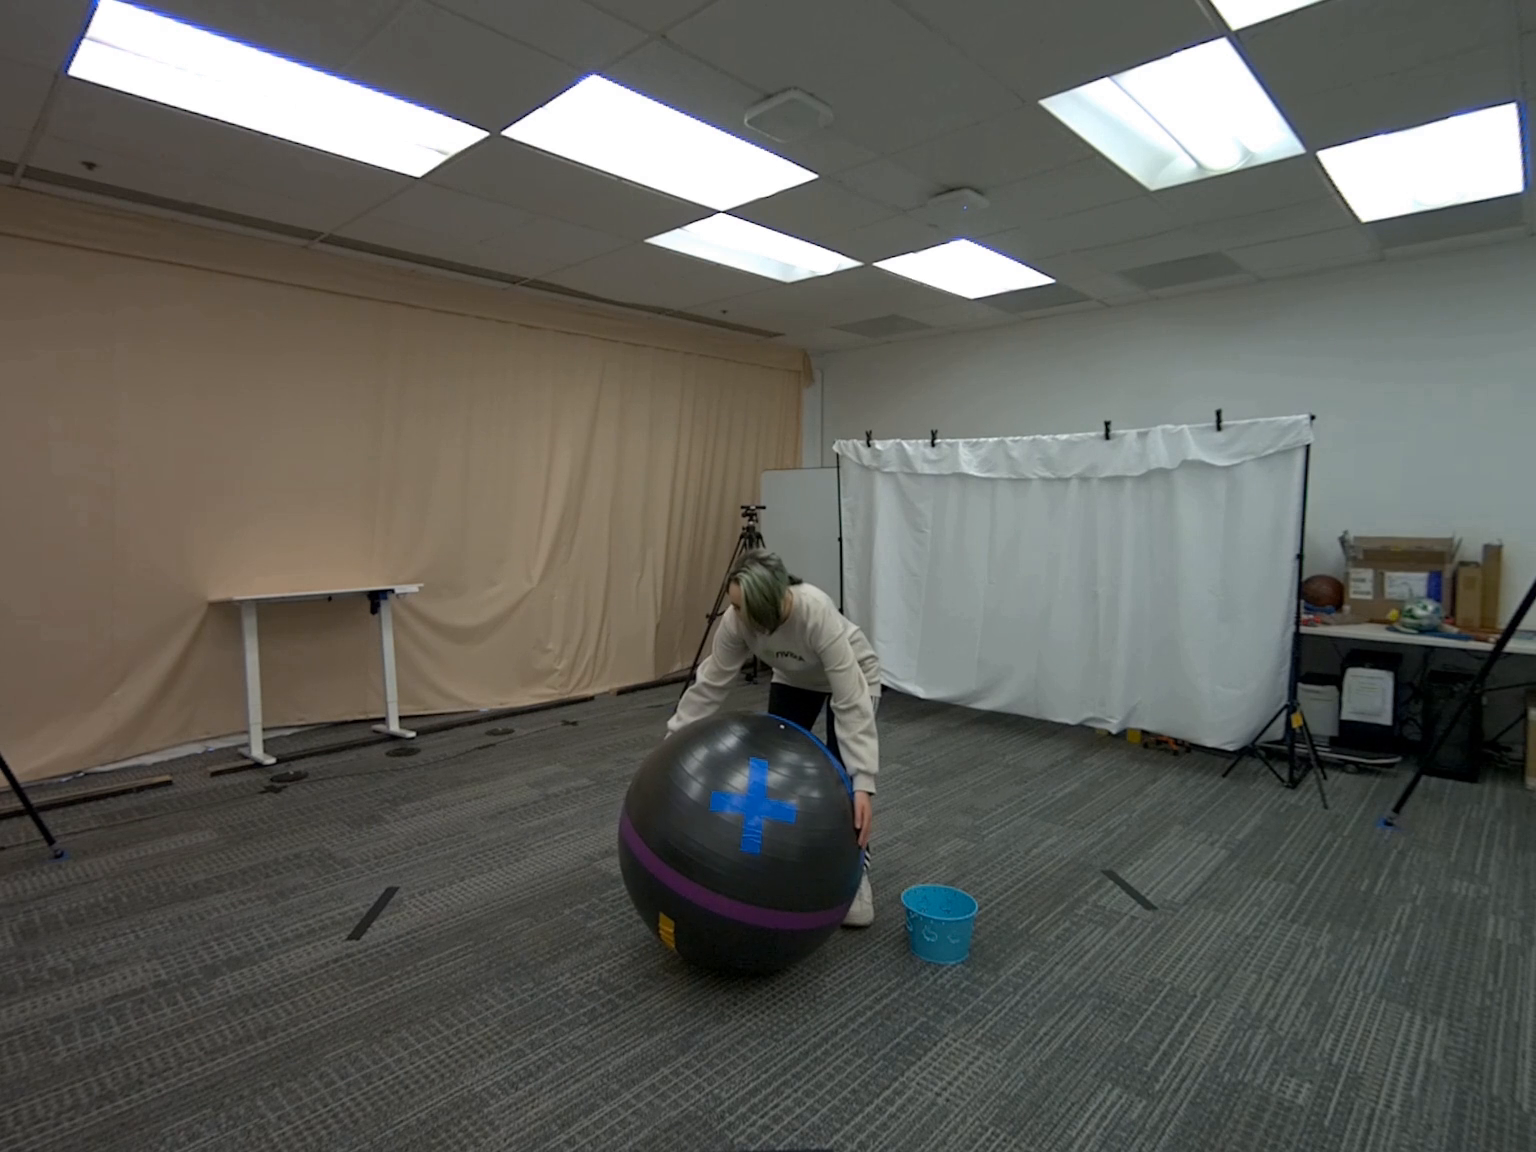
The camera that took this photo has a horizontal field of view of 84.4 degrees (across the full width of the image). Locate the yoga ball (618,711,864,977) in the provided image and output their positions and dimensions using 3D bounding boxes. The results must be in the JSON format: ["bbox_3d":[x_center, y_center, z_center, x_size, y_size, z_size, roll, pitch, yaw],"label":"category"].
[{"bbox_3d":[-0.070,0.814,2.583,0.757,0.756,0.760,0,4,-2],"label":"yoga ball"}]
